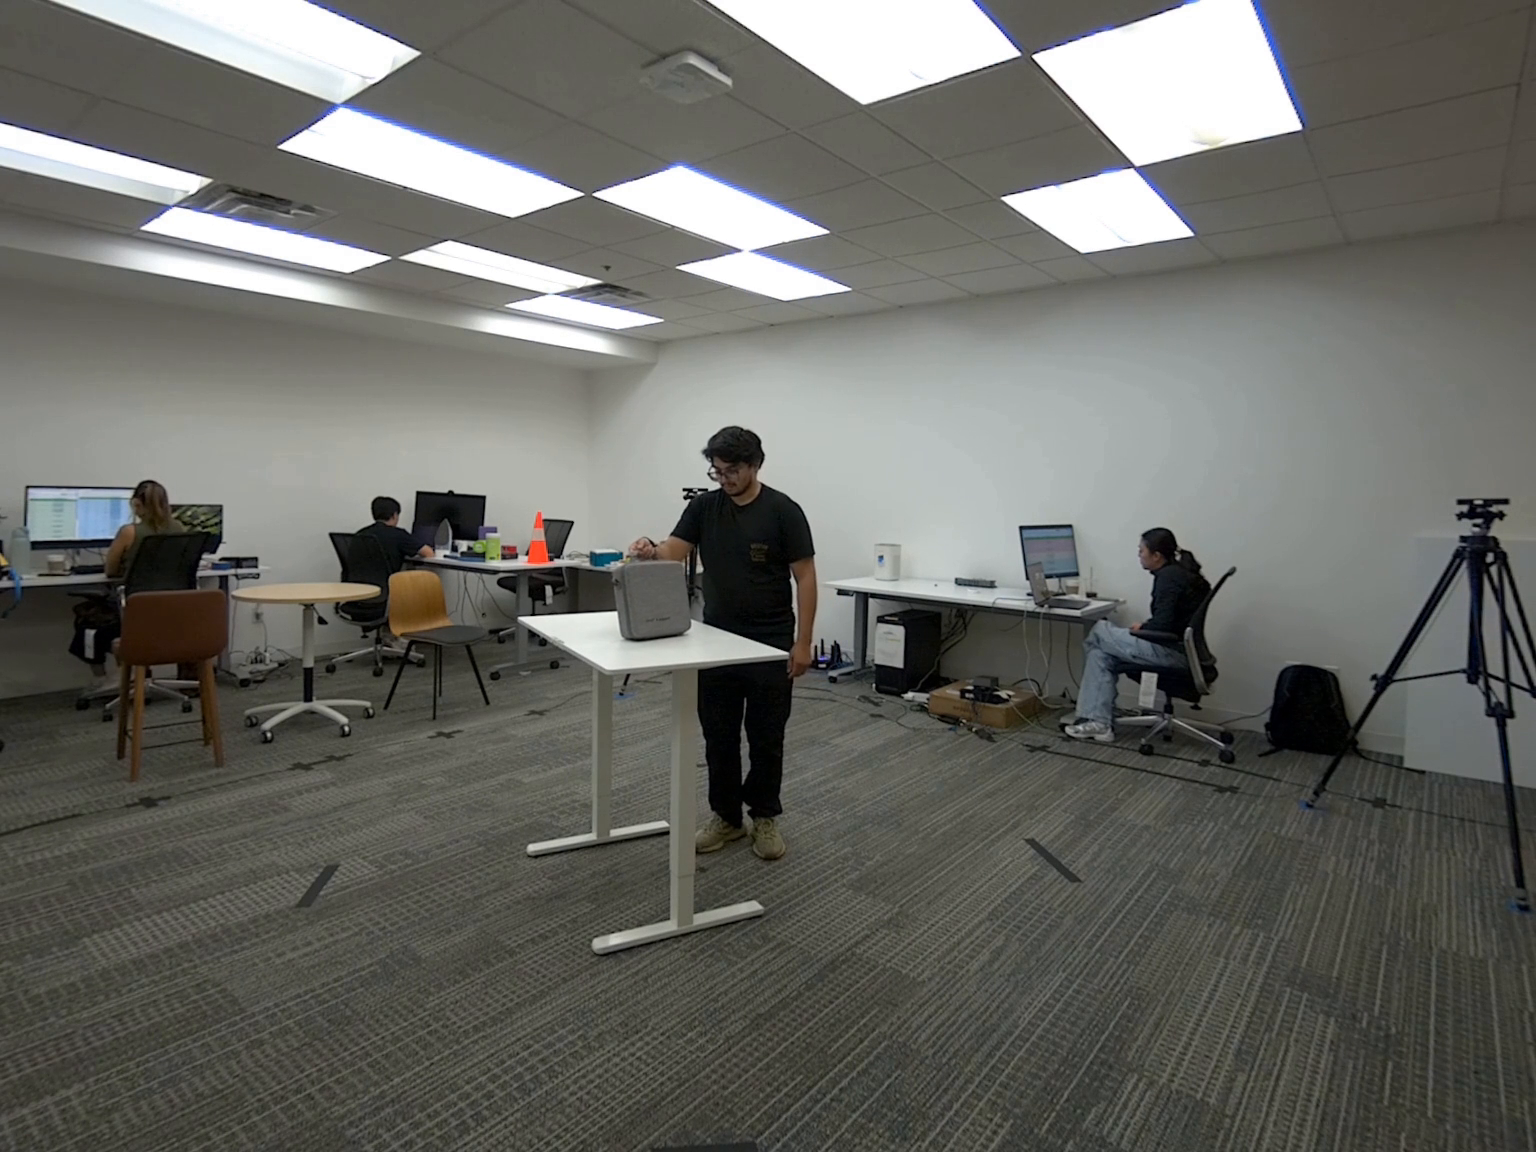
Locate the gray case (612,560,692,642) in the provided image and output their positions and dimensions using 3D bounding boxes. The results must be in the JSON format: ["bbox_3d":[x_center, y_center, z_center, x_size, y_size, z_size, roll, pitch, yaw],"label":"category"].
[{"bbox_3d":[-0.406,0.075,2.899,0.249,0.263,0.107,-3,-8,-41],"label":"gray case"}]
